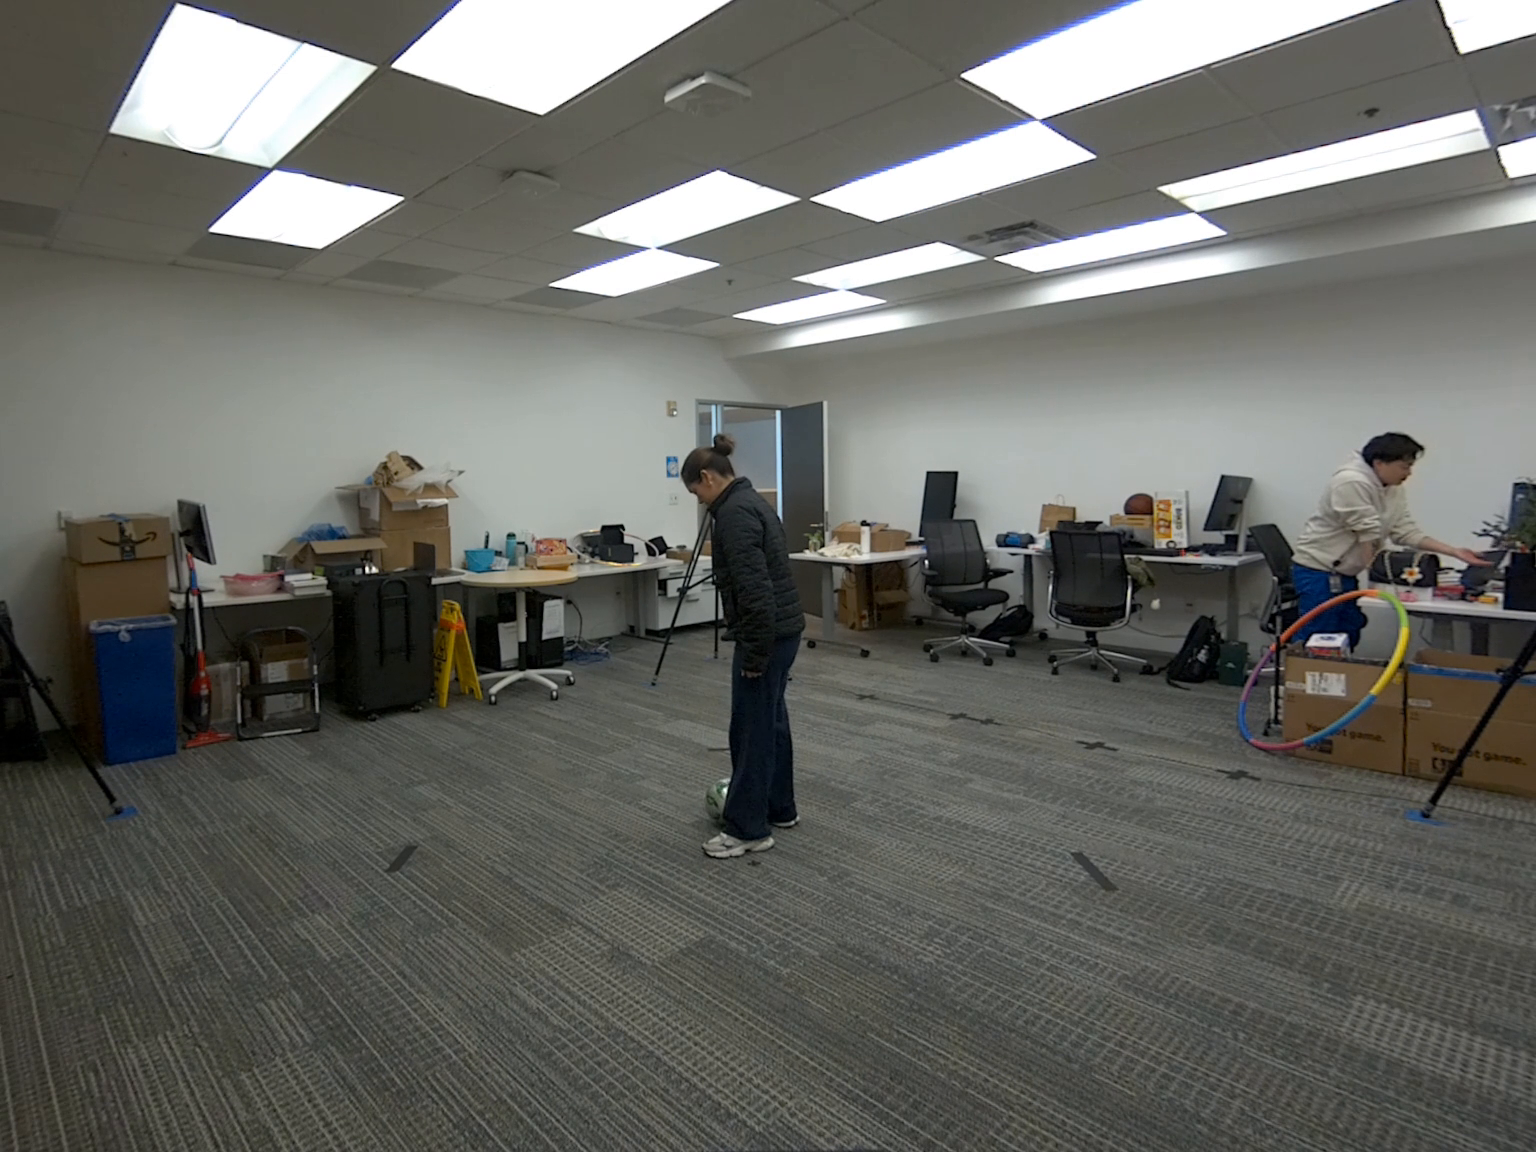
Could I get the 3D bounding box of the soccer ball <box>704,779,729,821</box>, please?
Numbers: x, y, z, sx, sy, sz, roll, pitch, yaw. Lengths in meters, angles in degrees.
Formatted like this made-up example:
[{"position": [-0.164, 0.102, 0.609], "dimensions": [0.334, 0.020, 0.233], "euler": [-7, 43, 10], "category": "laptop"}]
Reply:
[{"position": [-0.149, 0.912, 3.466], "dimensions": [0.187, 0.187, 0.188], "euler": [-1, 5, -2], "category": "soccer ball"}]
